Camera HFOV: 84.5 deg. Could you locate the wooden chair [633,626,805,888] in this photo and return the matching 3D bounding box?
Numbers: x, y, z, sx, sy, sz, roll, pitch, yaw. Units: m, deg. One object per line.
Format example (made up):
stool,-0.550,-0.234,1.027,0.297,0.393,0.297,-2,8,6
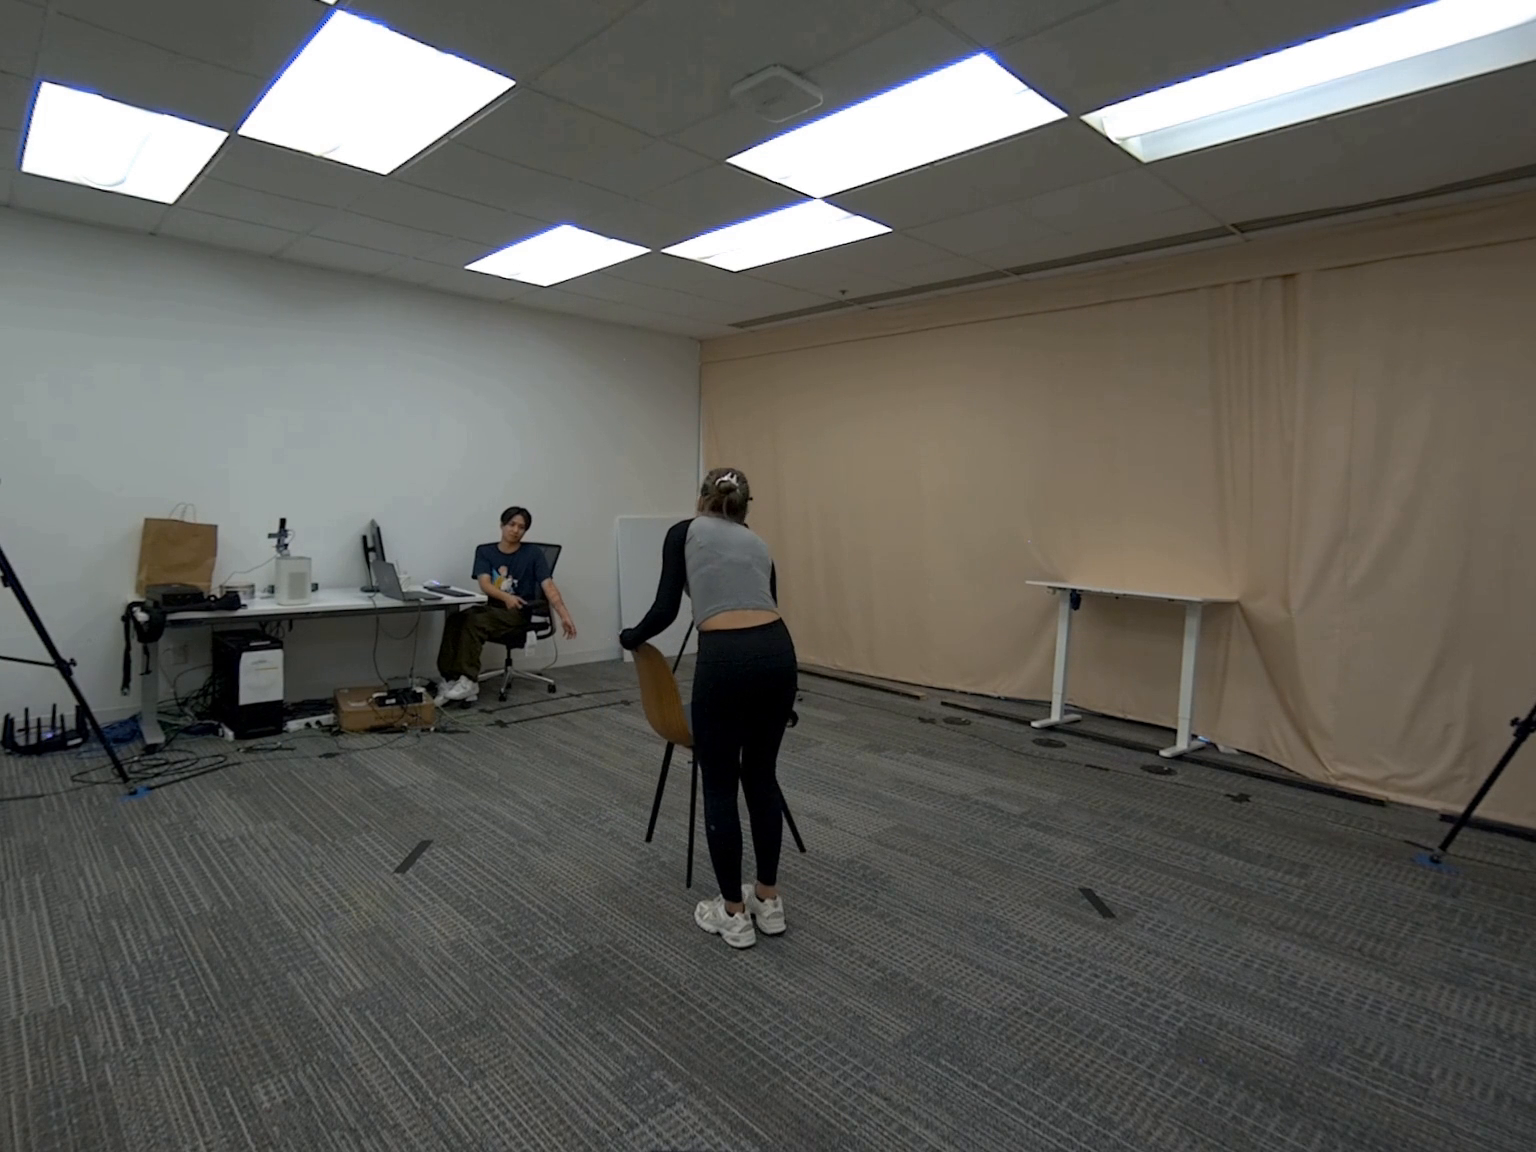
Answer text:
wooden chair,-0.204,0.581,3.064,0.516,0.873,0.487,-12,7,-25
